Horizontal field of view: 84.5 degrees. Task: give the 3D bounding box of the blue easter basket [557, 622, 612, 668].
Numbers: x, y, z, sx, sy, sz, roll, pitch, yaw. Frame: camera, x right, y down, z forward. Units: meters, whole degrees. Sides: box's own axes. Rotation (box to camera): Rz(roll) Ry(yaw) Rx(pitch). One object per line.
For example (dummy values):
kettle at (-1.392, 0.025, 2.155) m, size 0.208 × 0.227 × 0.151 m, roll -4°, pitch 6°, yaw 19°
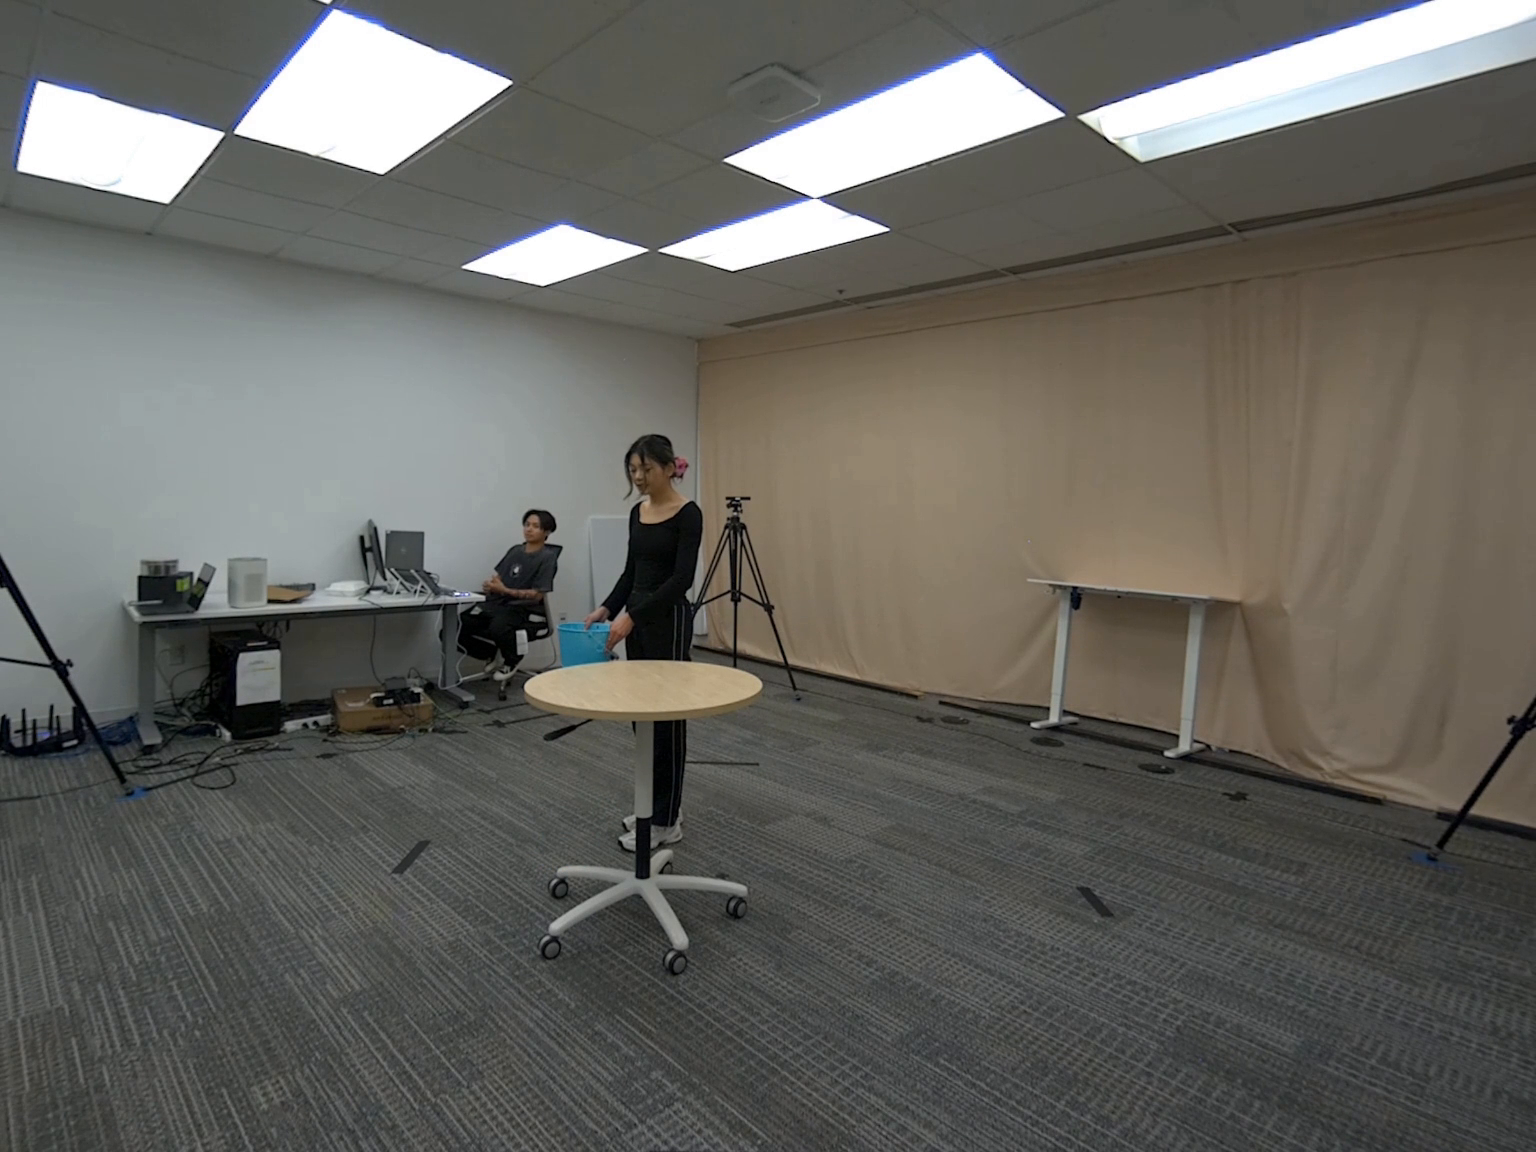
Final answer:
blue easter basket at (-0.725, 0.274, 3.250) m, size 0.243 × 0.155 × 0.244 m, roll 2°, pitch 4°, yaw -1°
